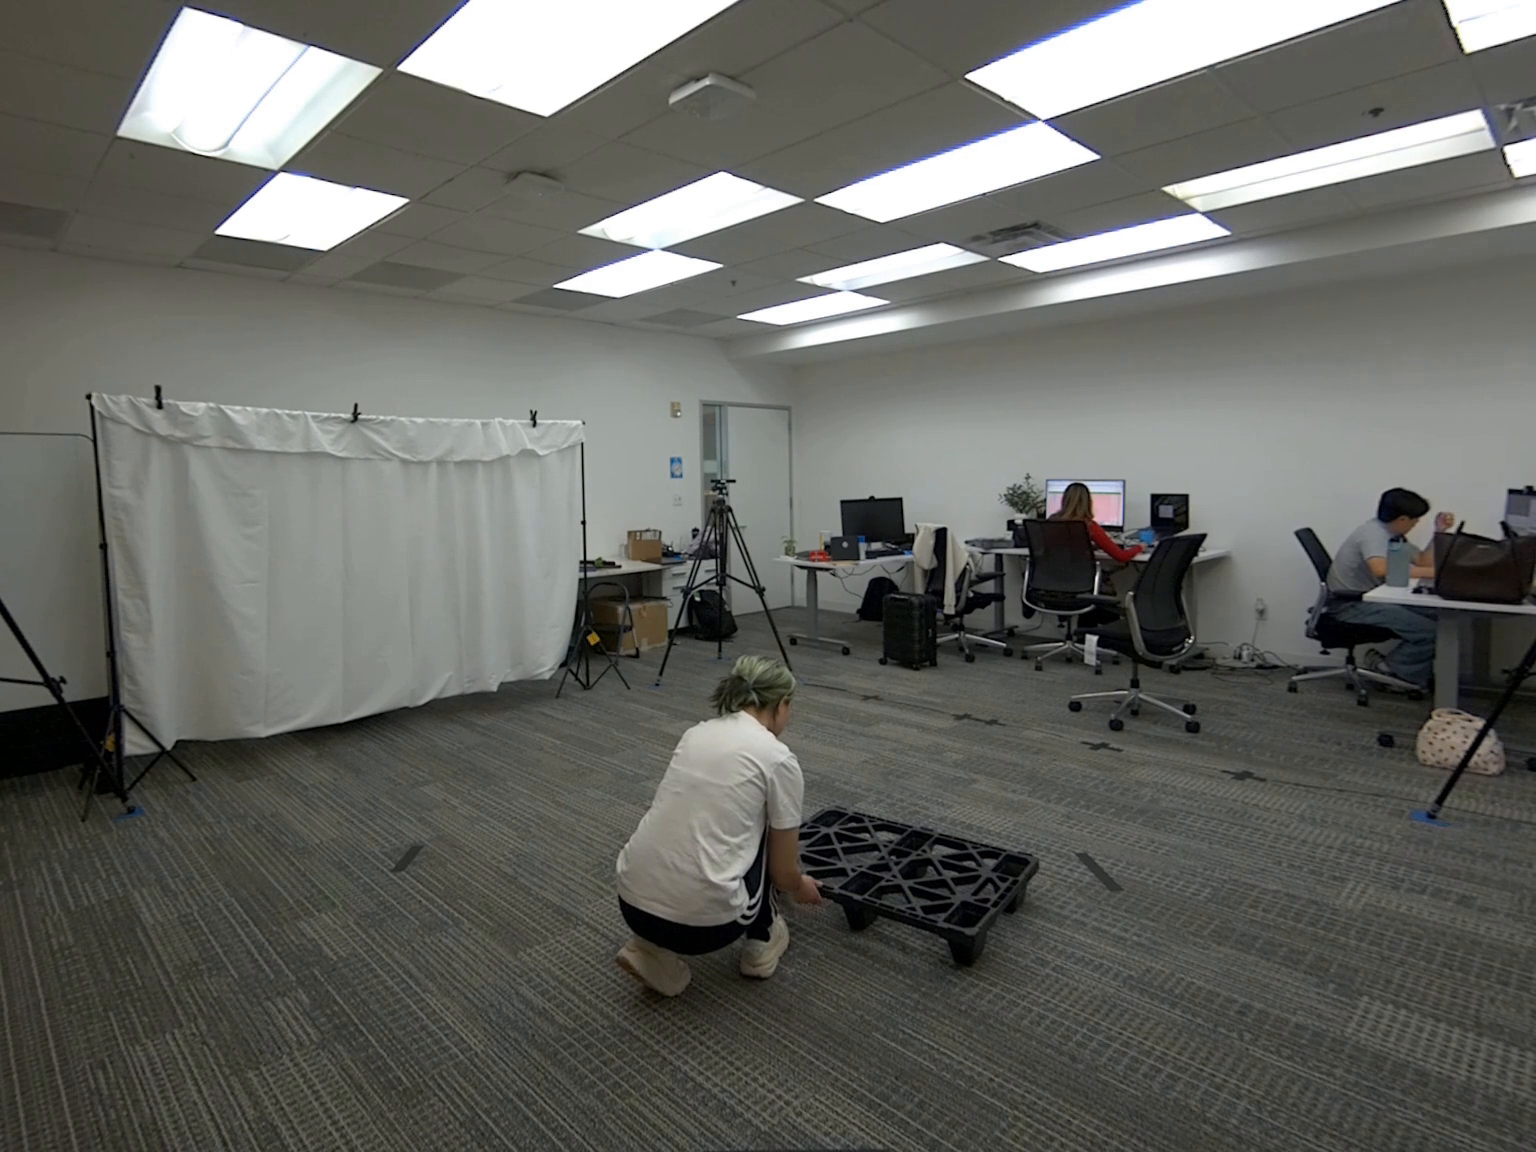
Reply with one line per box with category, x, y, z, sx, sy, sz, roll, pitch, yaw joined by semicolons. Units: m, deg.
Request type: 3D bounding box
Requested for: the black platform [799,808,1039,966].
black platform;0.409;1.003;2.838;0.829;0.143;0.590;4;7;36
